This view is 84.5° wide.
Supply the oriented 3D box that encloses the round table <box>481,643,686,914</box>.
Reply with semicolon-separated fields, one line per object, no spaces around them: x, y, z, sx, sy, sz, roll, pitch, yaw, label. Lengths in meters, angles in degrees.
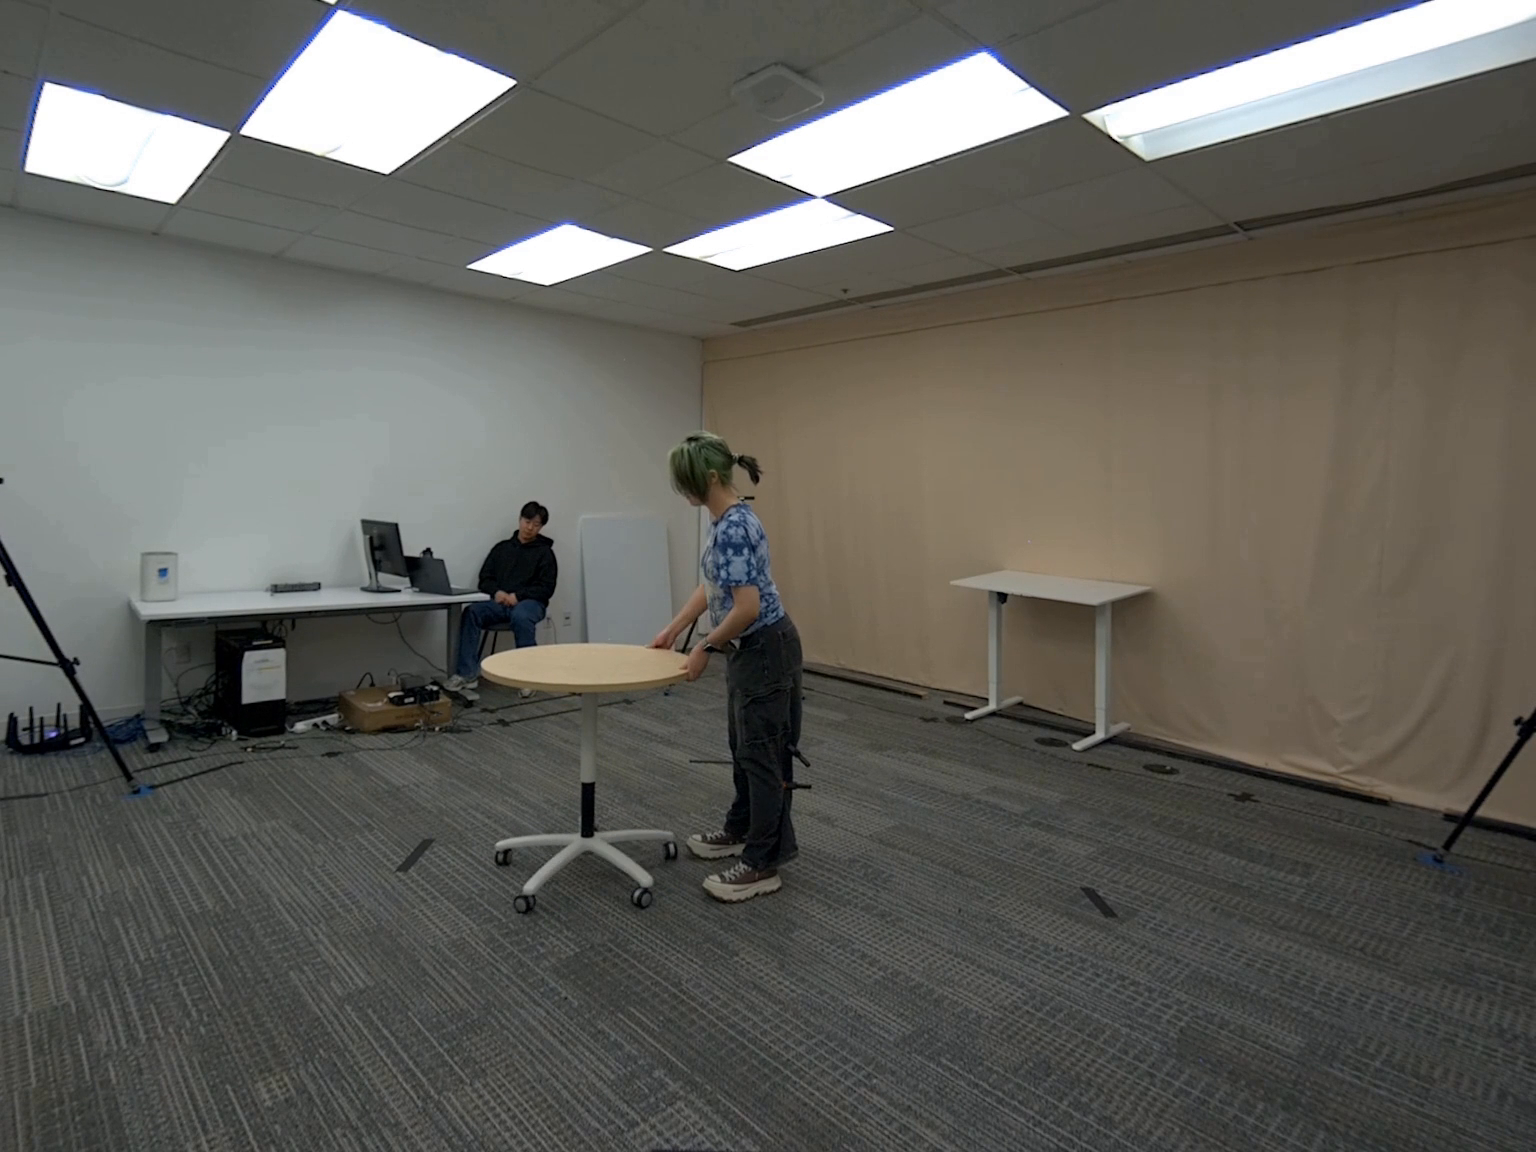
-0.667;0.705;3.077;0.763;0.792;0.766;2;4;-1;round table
